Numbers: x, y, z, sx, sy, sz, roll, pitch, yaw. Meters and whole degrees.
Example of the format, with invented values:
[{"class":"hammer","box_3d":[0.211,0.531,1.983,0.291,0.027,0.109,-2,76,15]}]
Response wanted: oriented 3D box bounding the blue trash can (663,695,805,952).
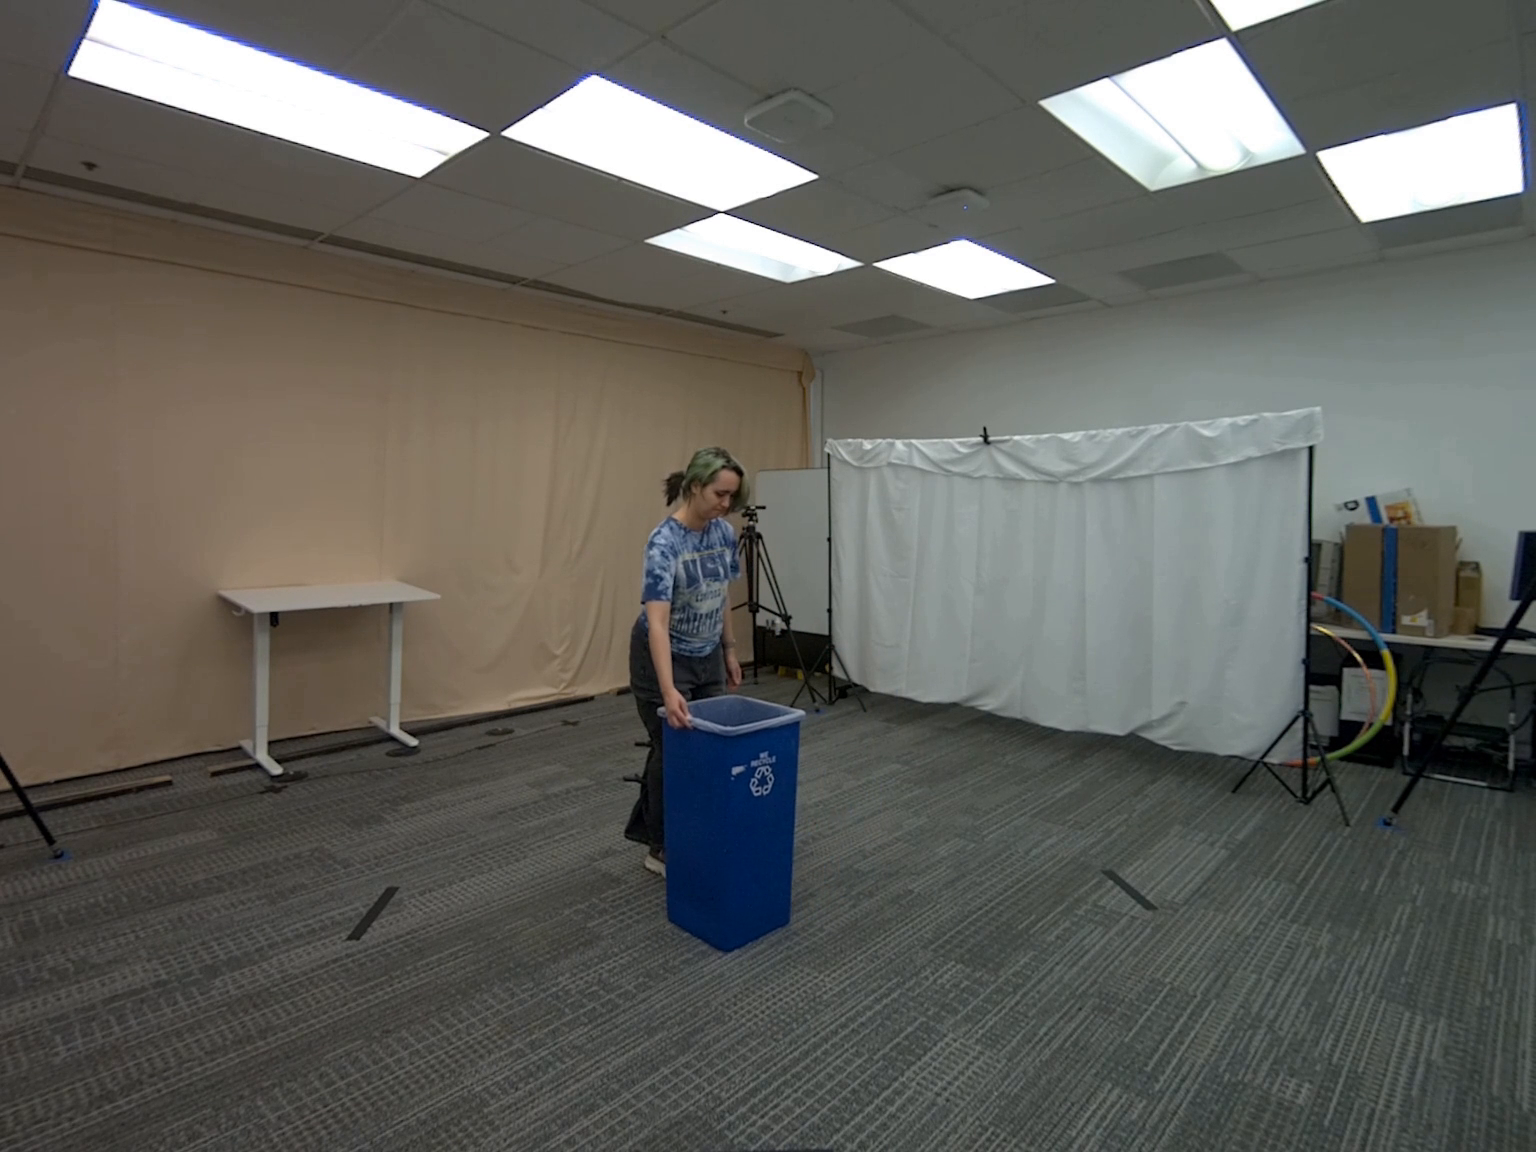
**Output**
[{"class":"blue trash can","box_3d":[-0.114,0.800,2.817,0.362,0.712,0.391,-3,5,-44]}]
